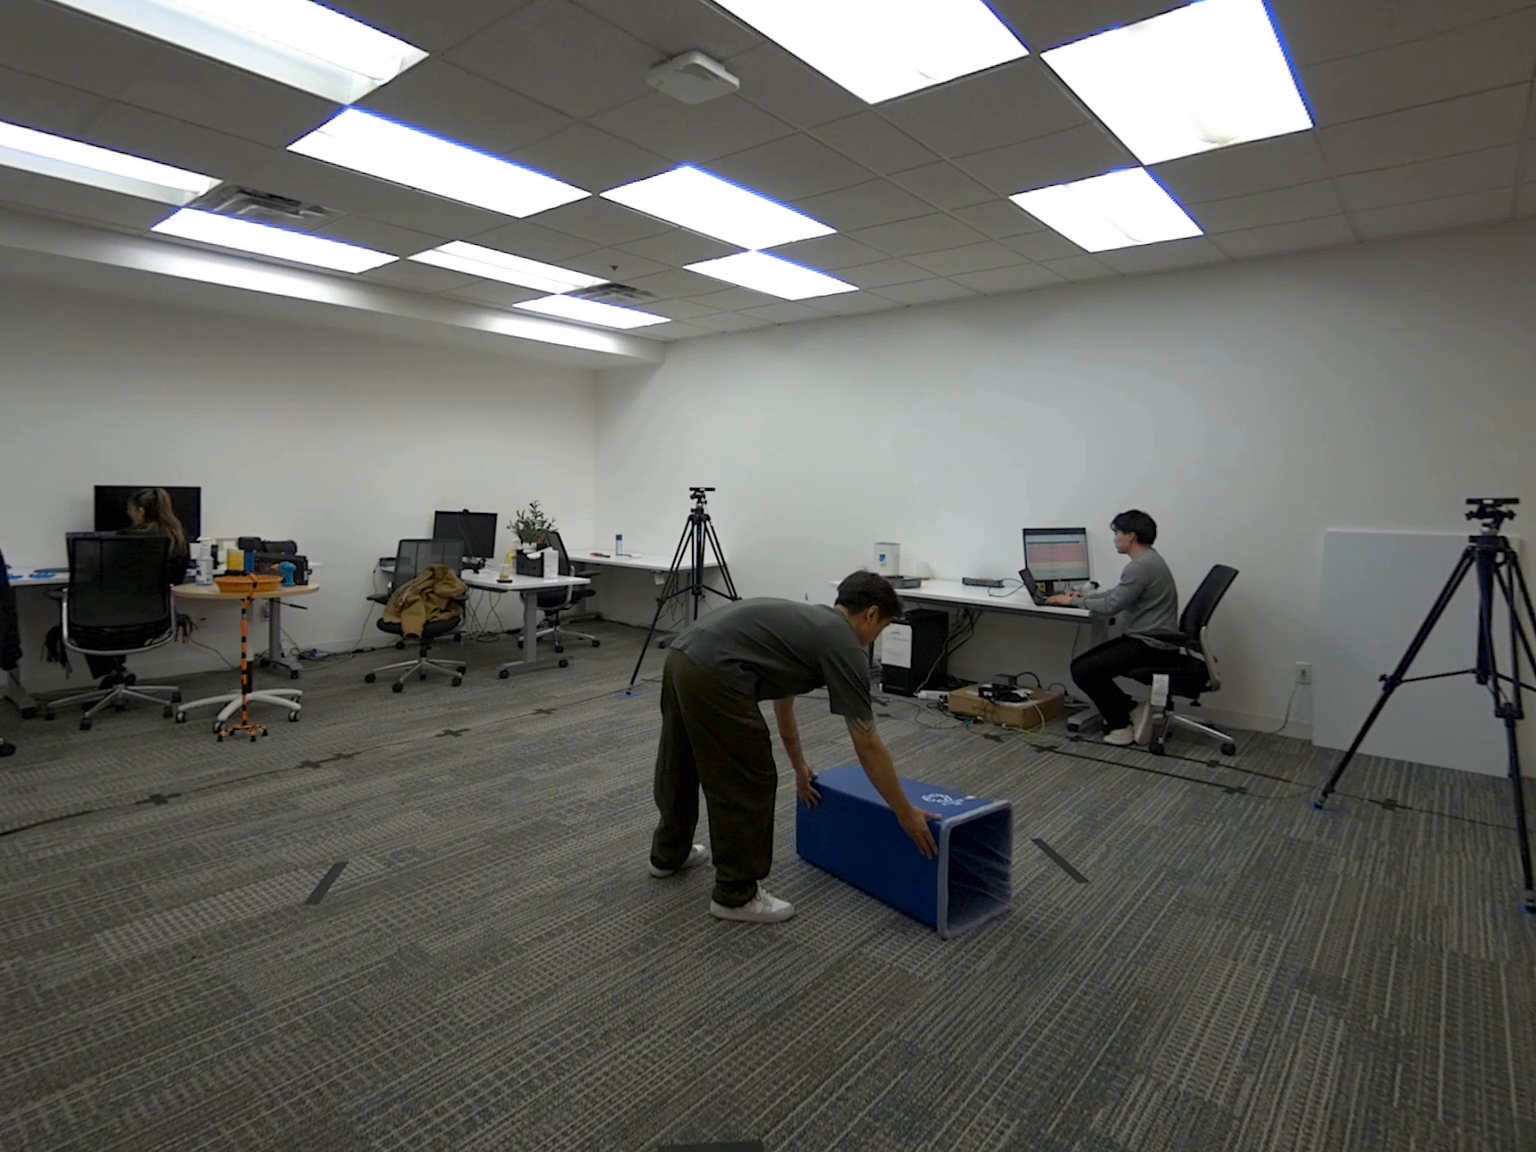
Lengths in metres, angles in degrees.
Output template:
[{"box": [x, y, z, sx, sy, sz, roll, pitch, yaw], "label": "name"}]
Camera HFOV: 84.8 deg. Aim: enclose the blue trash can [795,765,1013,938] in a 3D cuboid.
[{"box": [0.447, 0.919, 3.022, 0.366, 0.373, 0.737, -1, 4, -39], "label": "blue trash can"}]
